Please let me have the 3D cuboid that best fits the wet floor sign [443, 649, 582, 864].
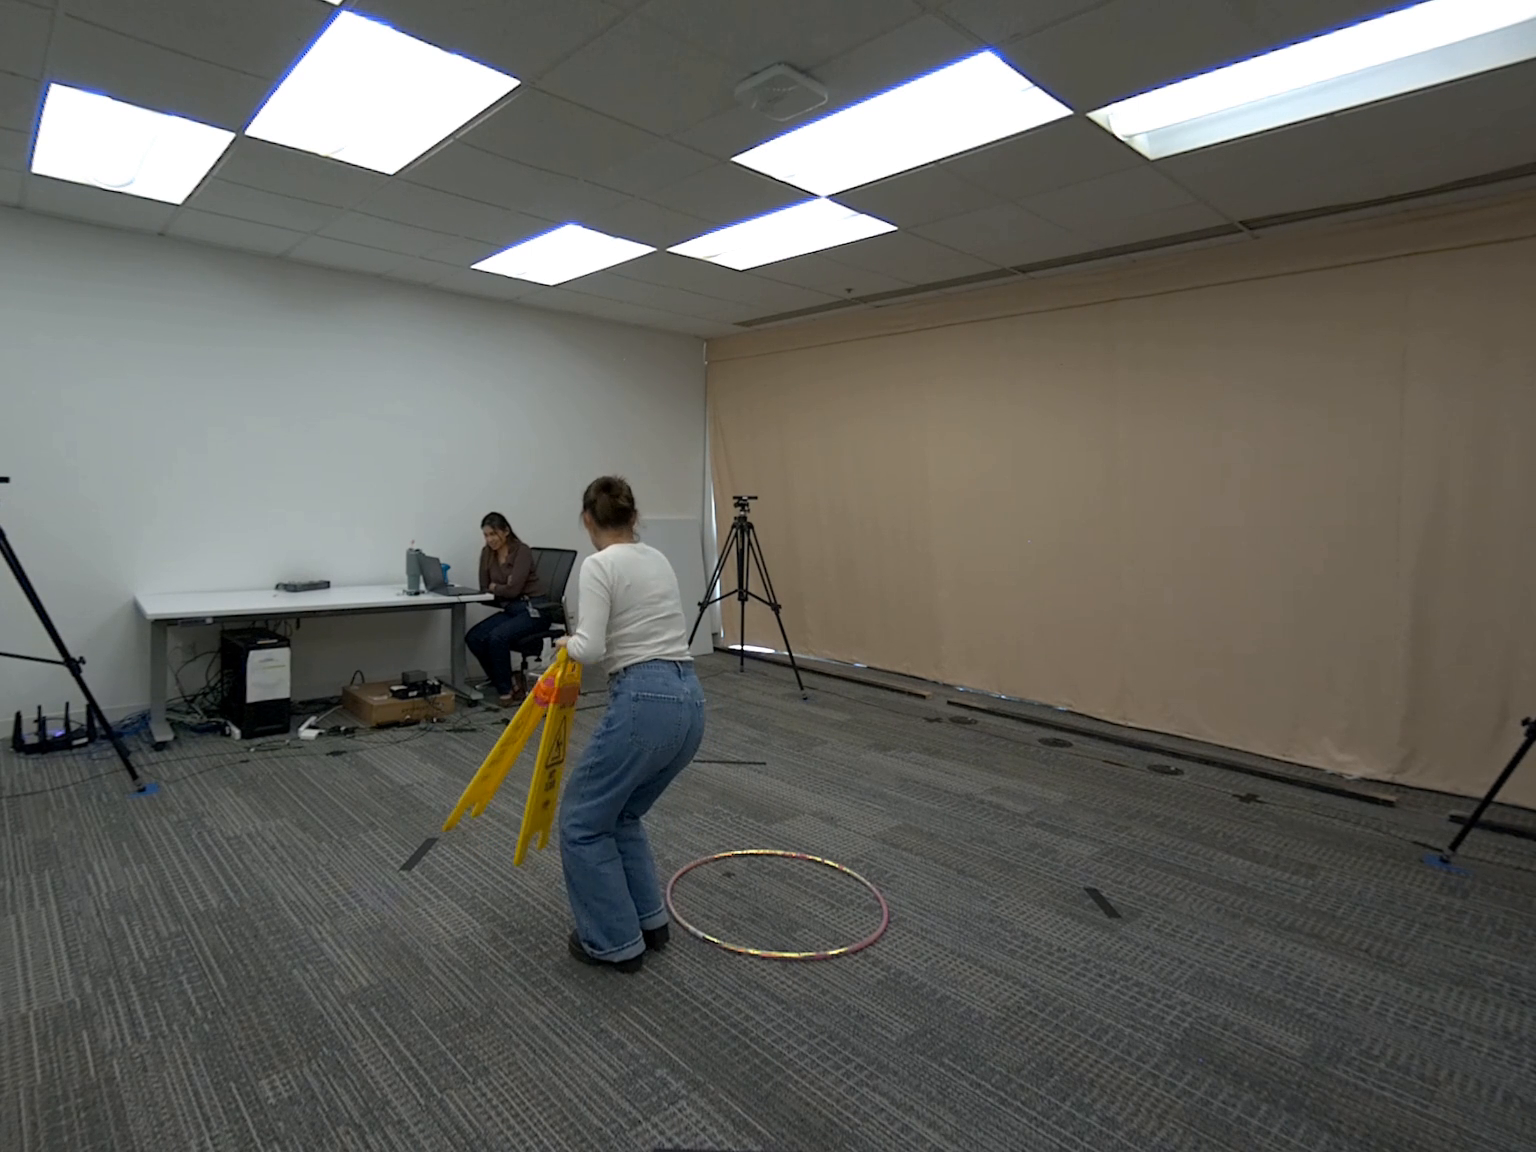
[{"bbox_3d":[-0.715,0.484,2.684,0.292,0.647,0.279,21,-5,7],"label":"wet floor sign"}]
